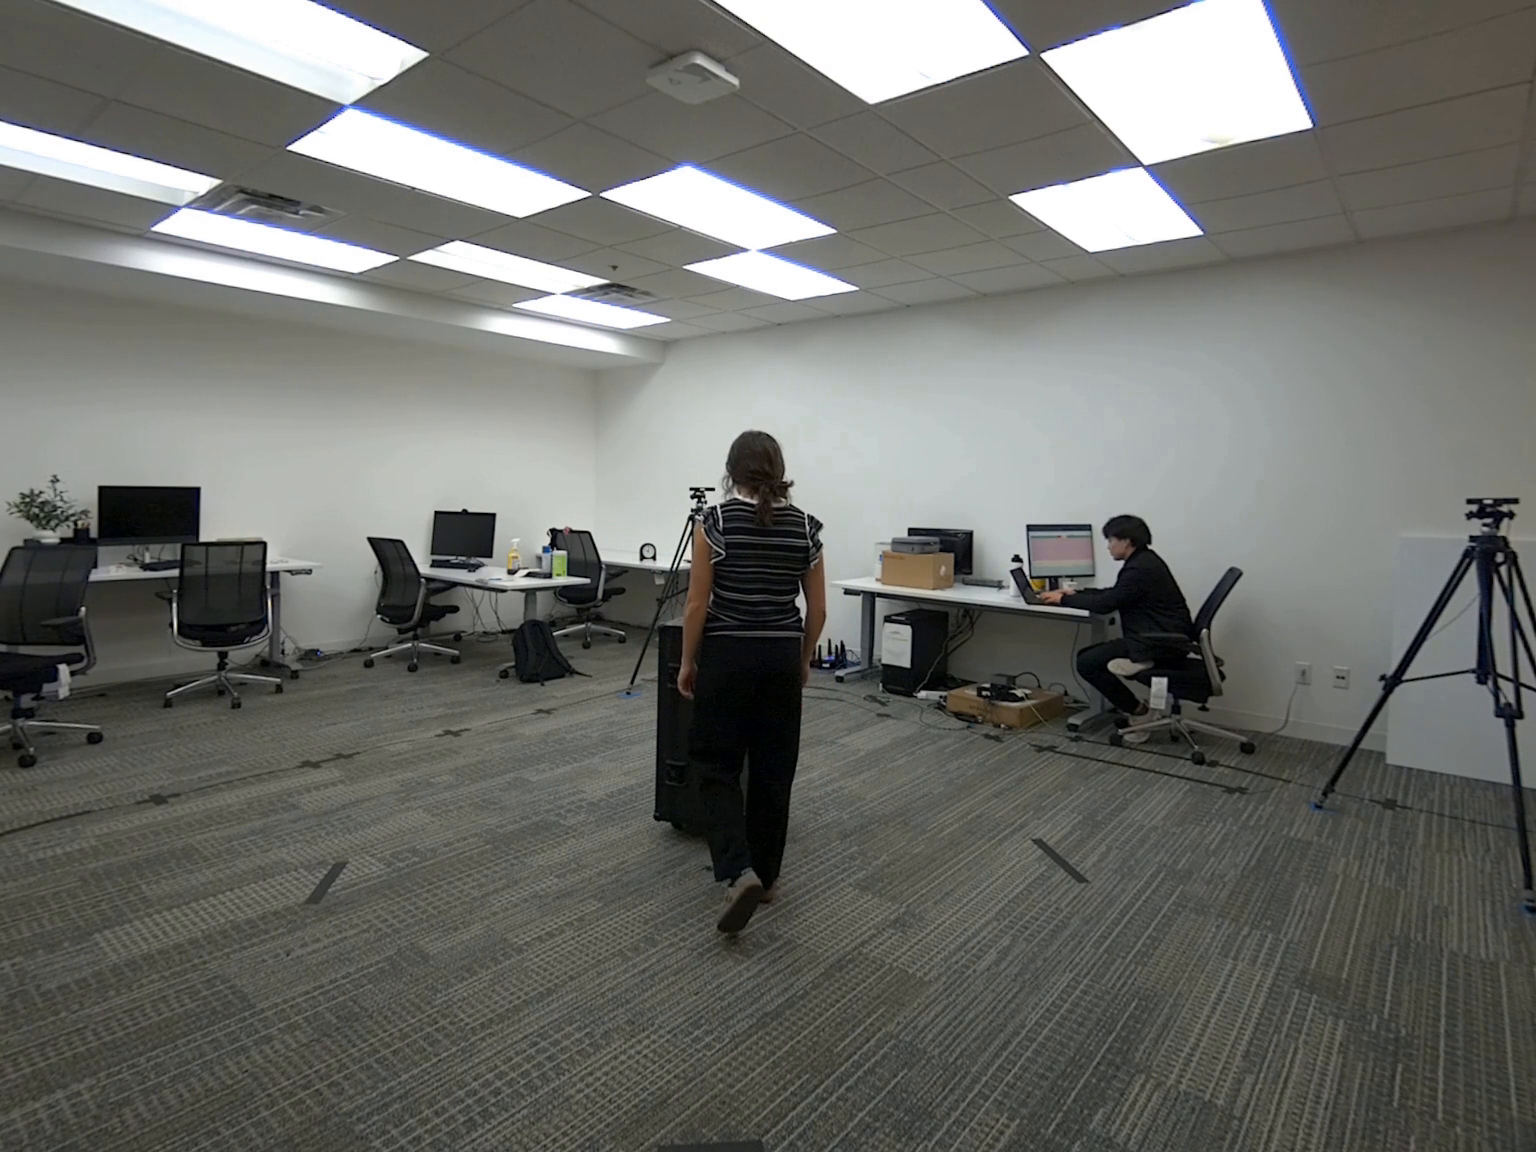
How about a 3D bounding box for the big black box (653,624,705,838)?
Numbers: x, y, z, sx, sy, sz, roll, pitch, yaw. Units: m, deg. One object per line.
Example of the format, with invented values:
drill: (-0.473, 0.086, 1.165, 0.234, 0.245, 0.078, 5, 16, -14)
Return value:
big black box: (-0.208, 0.598, 3.523, 0.404, 0.859, 0.512, 3, 4, 17)
